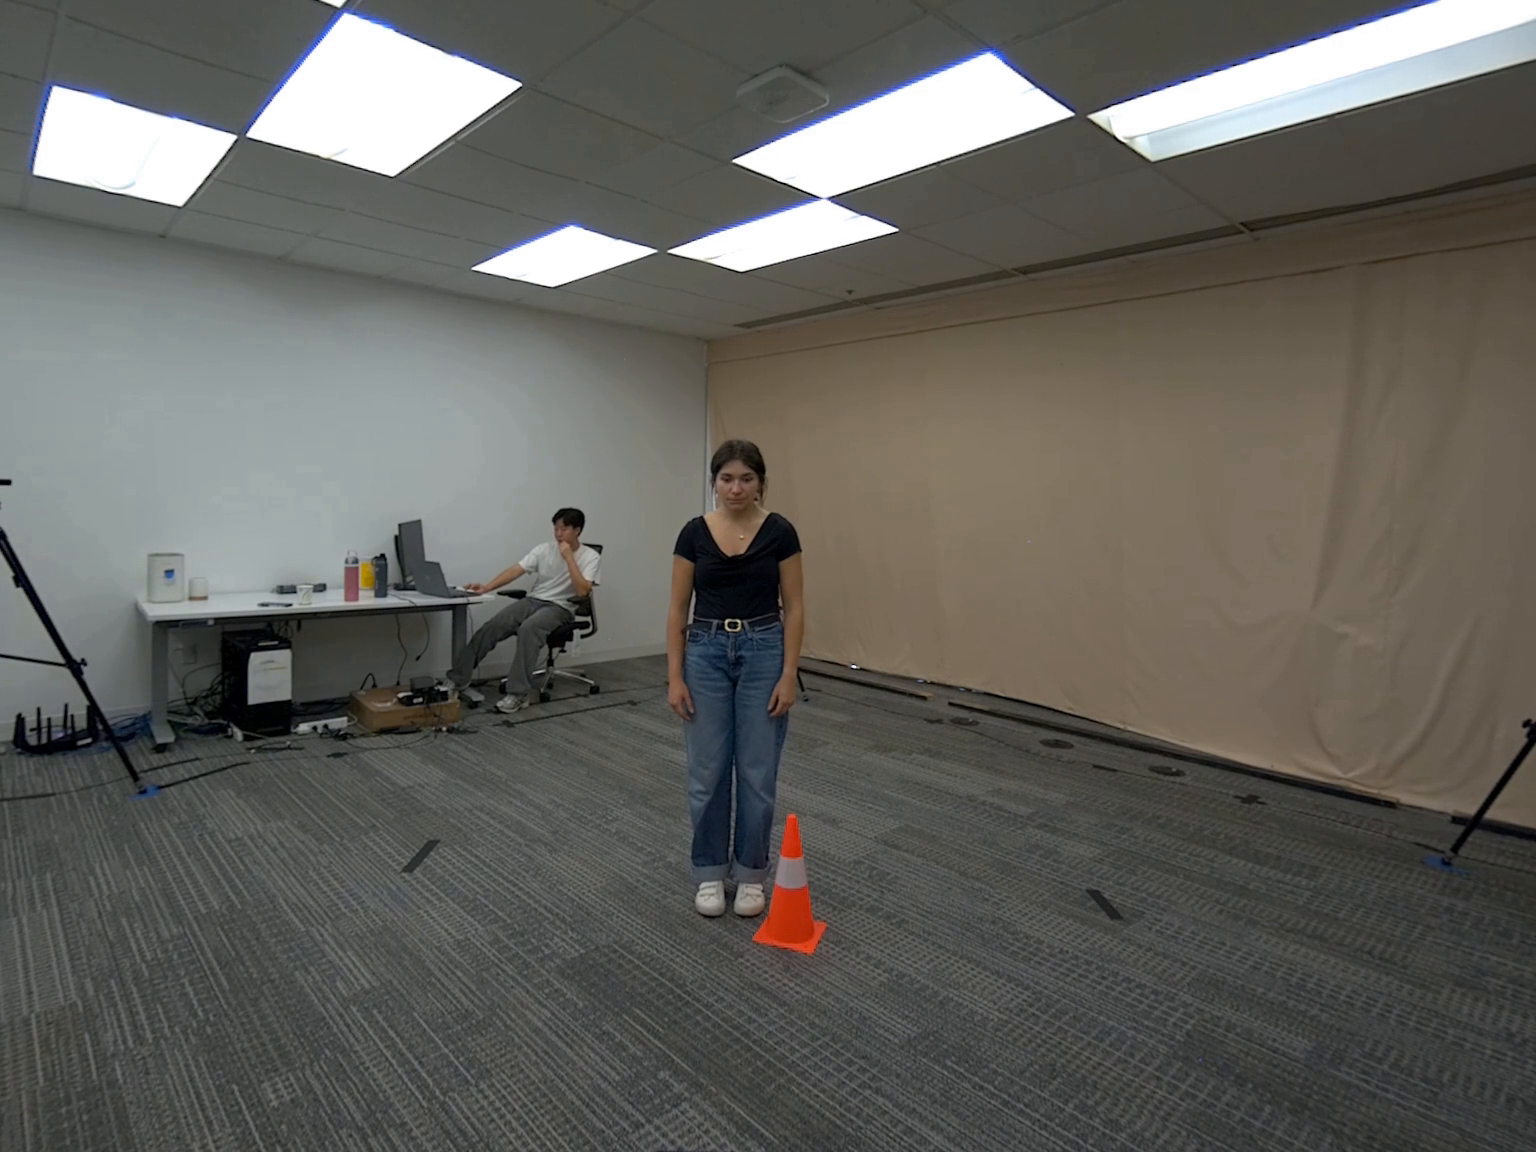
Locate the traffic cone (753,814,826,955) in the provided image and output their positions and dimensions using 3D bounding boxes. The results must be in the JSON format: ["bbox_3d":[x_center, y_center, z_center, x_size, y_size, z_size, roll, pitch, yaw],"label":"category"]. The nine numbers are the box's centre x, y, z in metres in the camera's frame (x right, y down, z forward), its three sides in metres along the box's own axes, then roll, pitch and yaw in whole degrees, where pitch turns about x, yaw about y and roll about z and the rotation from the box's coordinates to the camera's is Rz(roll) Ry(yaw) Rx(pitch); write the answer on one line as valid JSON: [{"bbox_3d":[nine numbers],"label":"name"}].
[{"bbox_3d":[0.064,0.964,2.693,0.208,0.383,0.200,3,3,19],"label":"traffic cone"}]
